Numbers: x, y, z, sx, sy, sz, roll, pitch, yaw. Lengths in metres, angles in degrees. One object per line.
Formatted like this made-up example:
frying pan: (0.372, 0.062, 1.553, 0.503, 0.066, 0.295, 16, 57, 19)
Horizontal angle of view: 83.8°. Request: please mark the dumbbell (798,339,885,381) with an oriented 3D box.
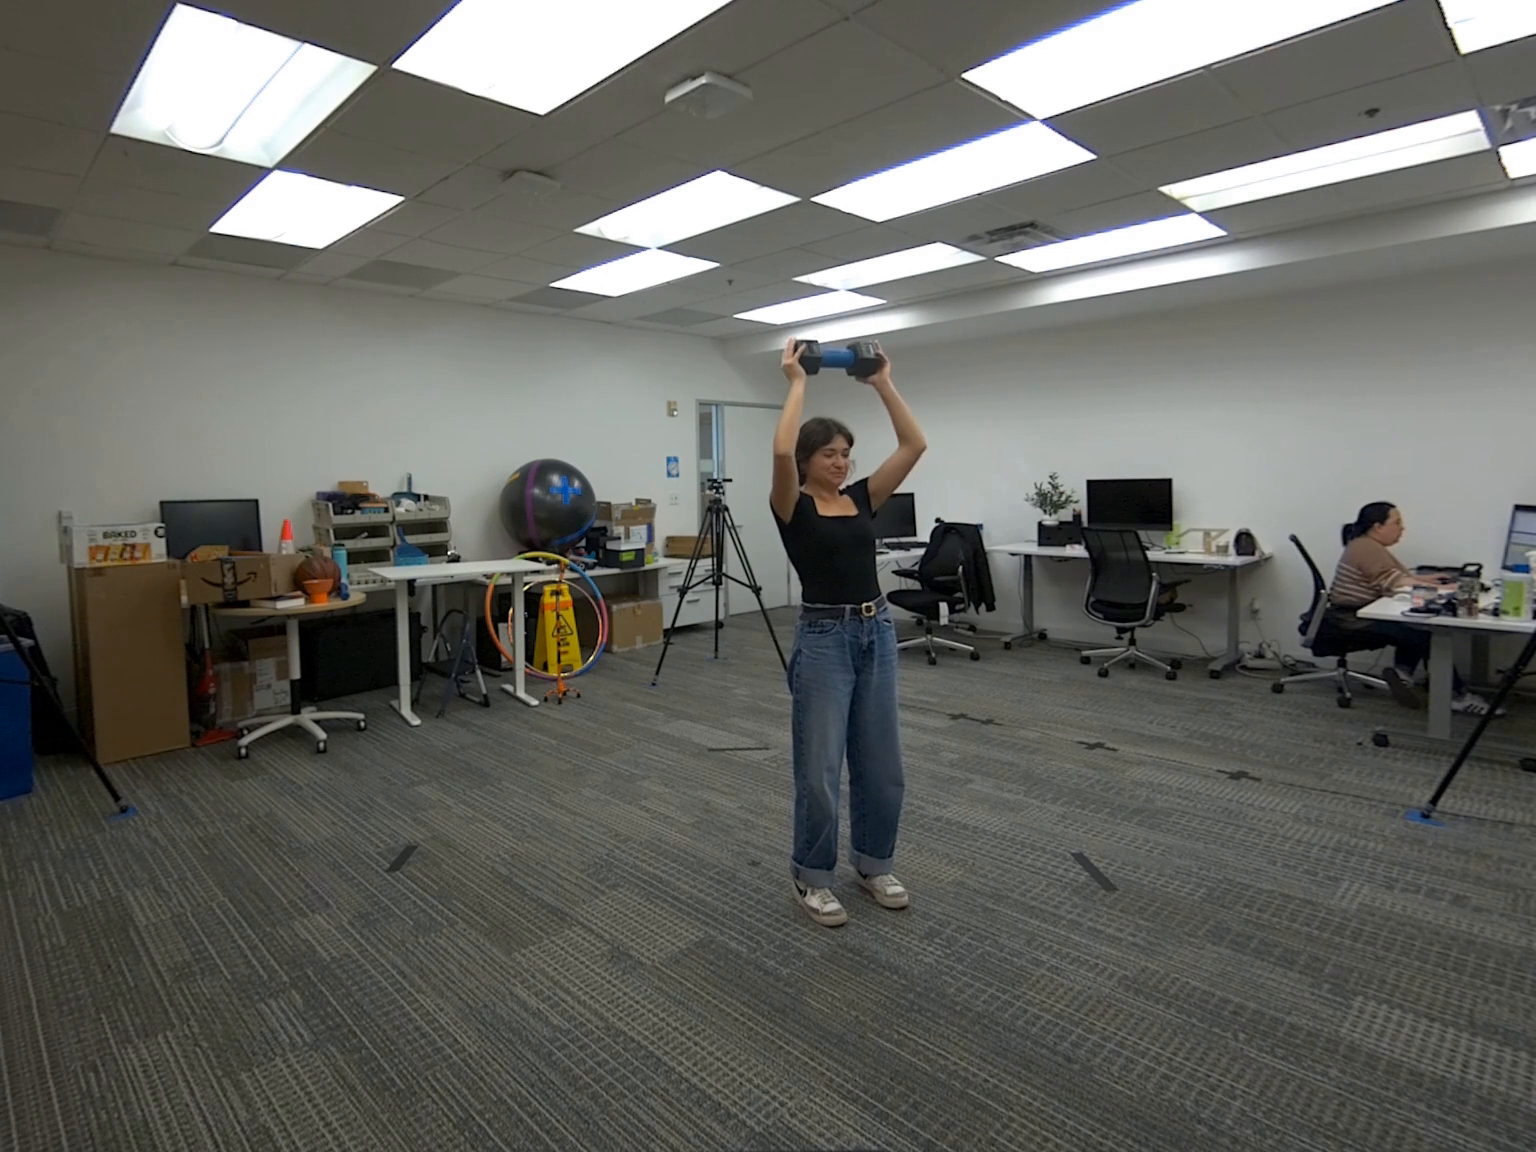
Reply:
dumbbell: (0.211, -0.689, 2.711, 0.288, 0.121, 0.113, -5, 41, -24)
